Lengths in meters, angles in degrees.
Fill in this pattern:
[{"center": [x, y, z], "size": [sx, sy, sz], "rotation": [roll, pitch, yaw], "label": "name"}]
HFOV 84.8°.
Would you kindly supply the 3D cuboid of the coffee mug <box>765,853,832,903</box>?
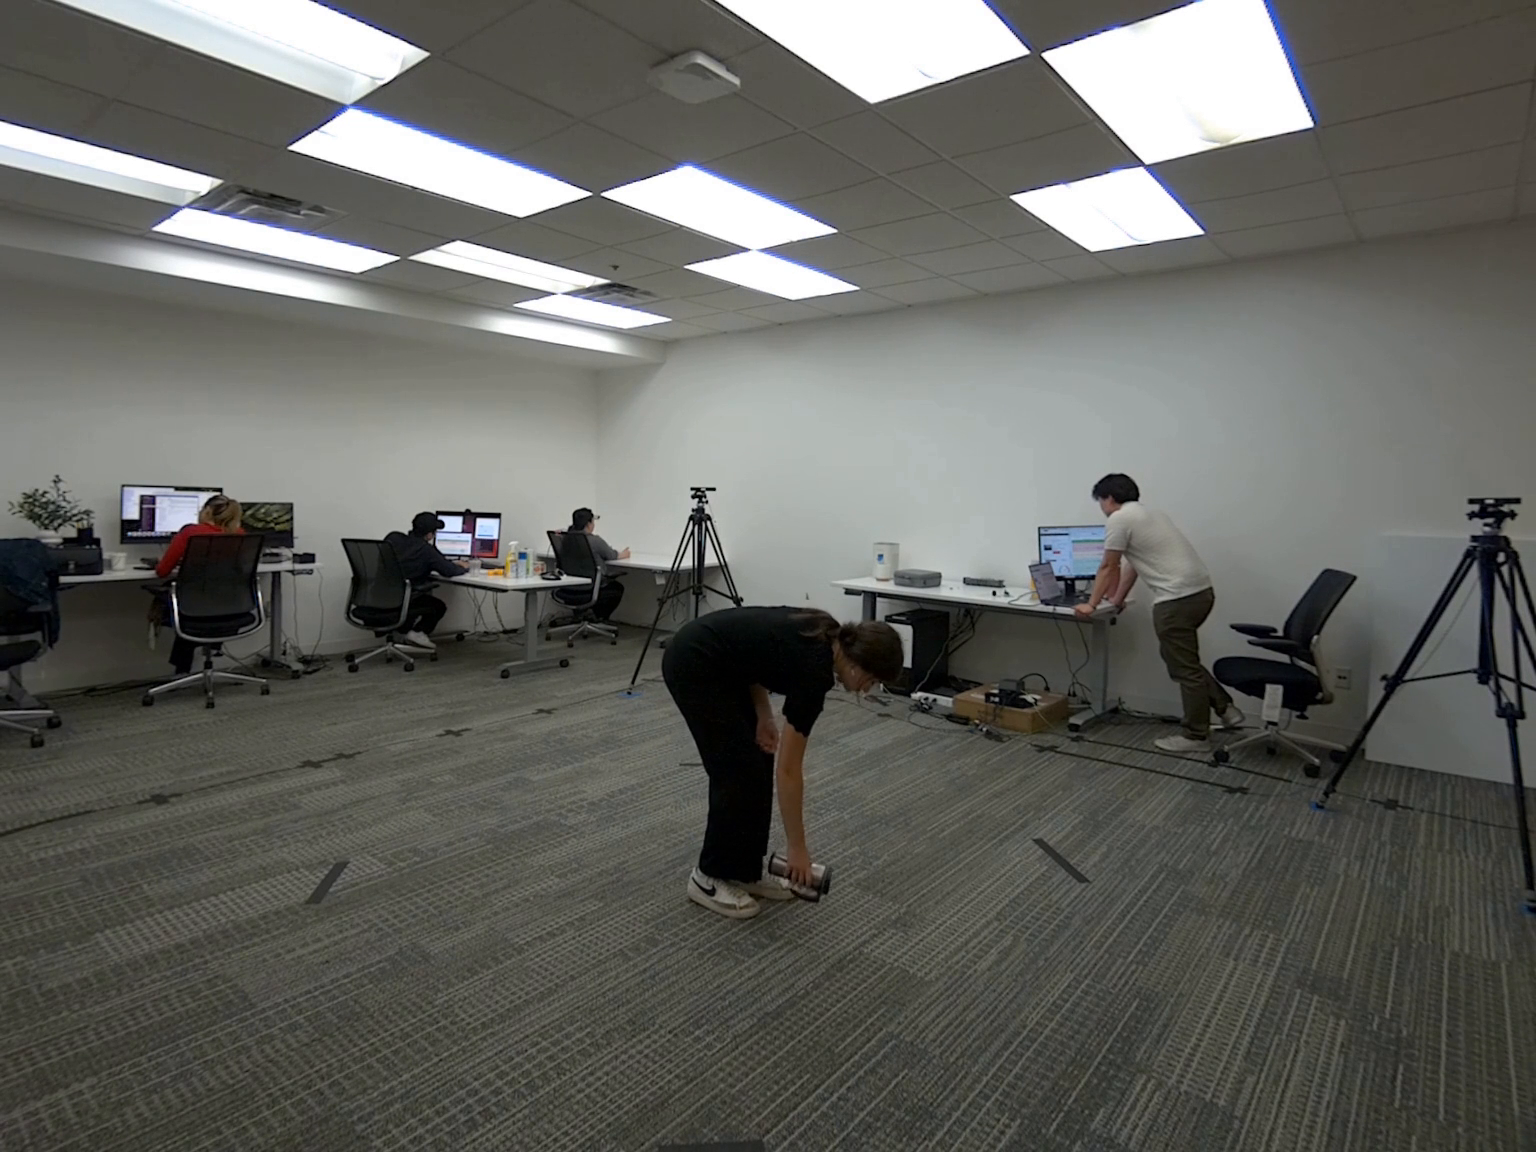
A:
[{"center": [0.090, 0.953, 2.721], "size": [0.207, 0.088, 0.119], "rotation": [14, -6, 15], "label": "coffee mug"}]
